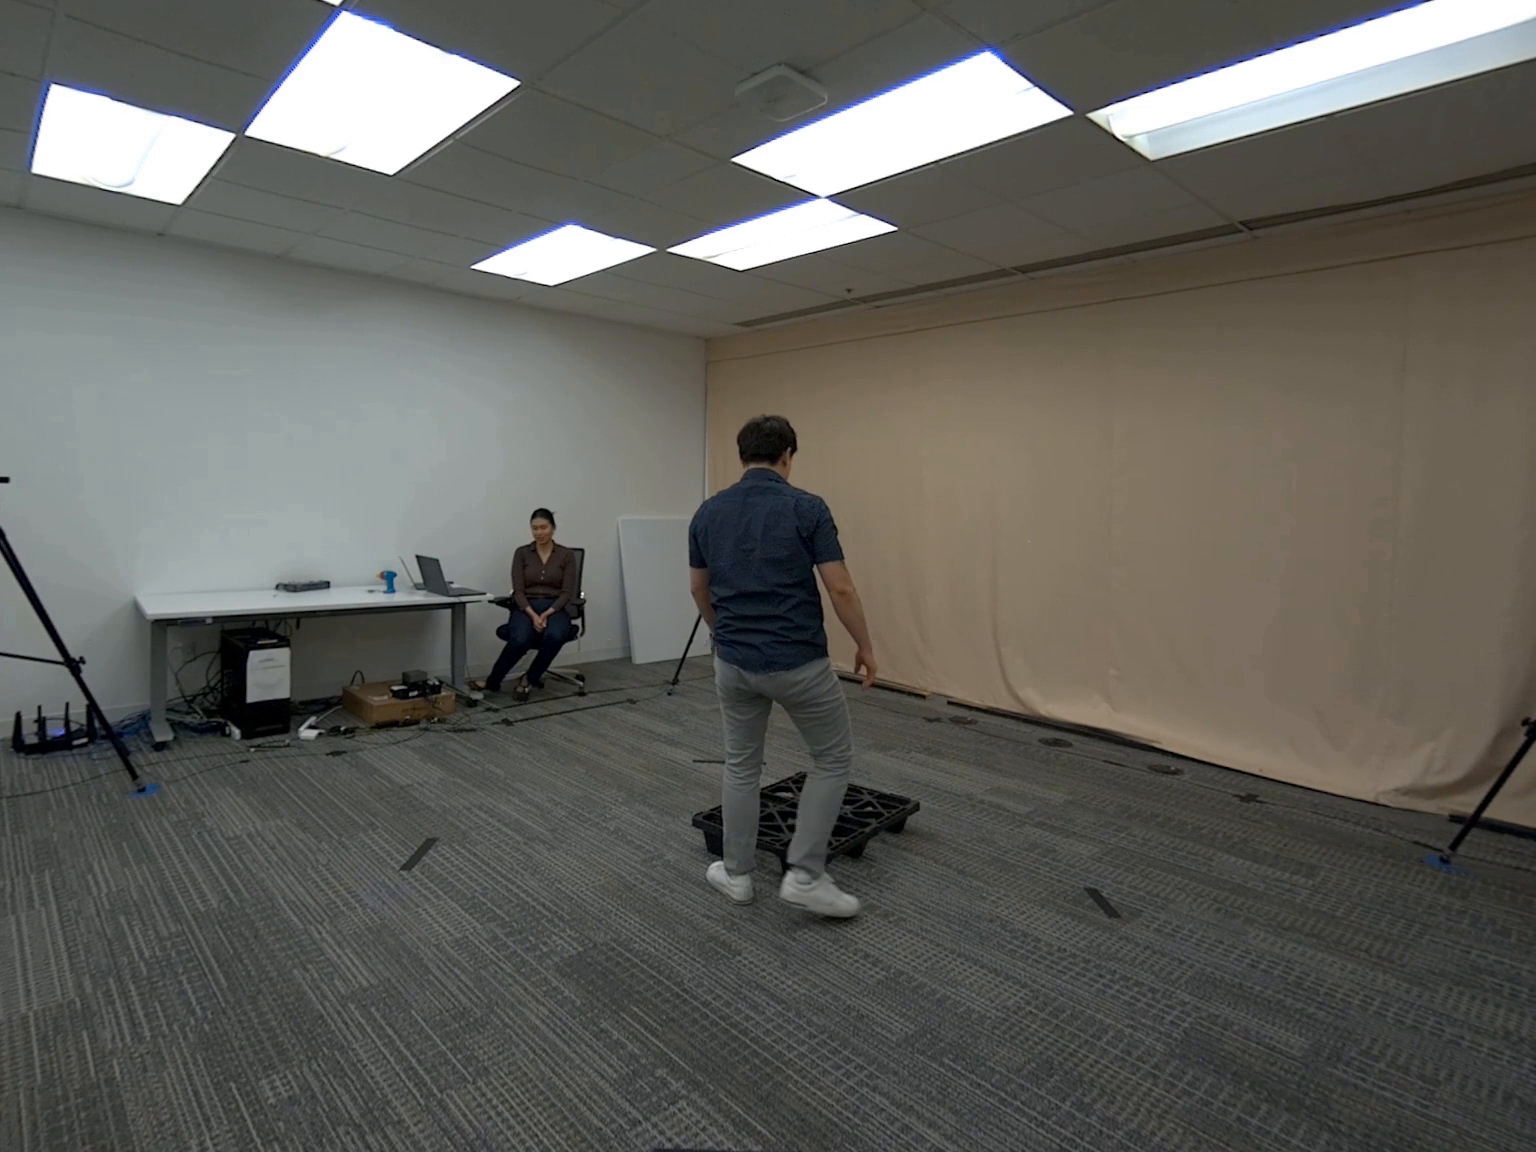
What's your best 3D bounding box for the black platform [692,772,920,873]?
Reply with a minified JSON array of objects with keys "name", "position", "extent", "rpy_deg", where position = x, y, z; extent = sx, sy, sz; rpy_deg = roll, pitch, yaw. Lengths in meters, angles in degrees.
[{"name":"black platform","position":[0.165,1.016,3.432],"extent":[0.620,0.143,0.788],"rpy_deg":[6,7,37]}]
